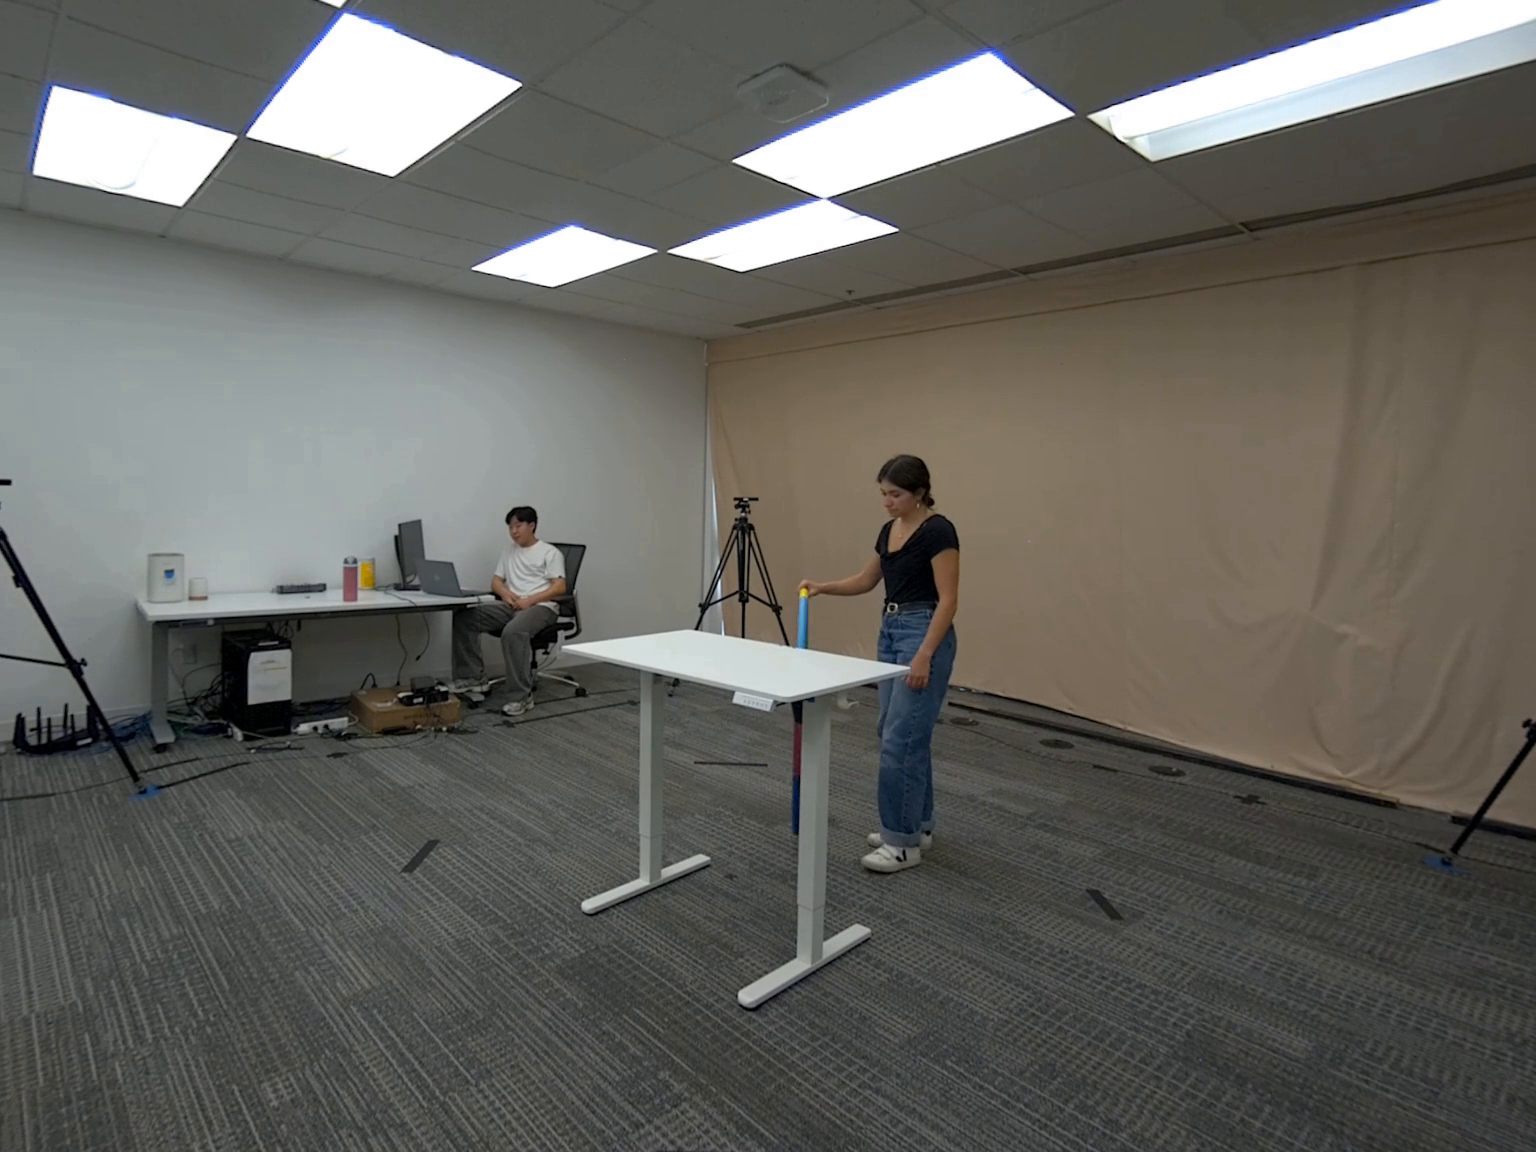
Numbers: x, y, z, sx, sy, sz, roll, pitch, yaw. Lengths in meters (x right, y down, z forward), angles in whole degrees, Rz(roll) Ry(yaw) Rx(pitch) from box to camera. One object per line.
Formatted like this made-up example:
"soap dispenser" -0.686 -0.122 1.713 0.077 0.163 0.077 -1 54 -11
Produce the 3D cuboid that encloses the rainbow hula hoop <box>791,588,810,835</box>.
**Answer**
"rainbow hula hoop" 0.130 0.555 3.456 0.036 0.976 0.977 2 4 3
